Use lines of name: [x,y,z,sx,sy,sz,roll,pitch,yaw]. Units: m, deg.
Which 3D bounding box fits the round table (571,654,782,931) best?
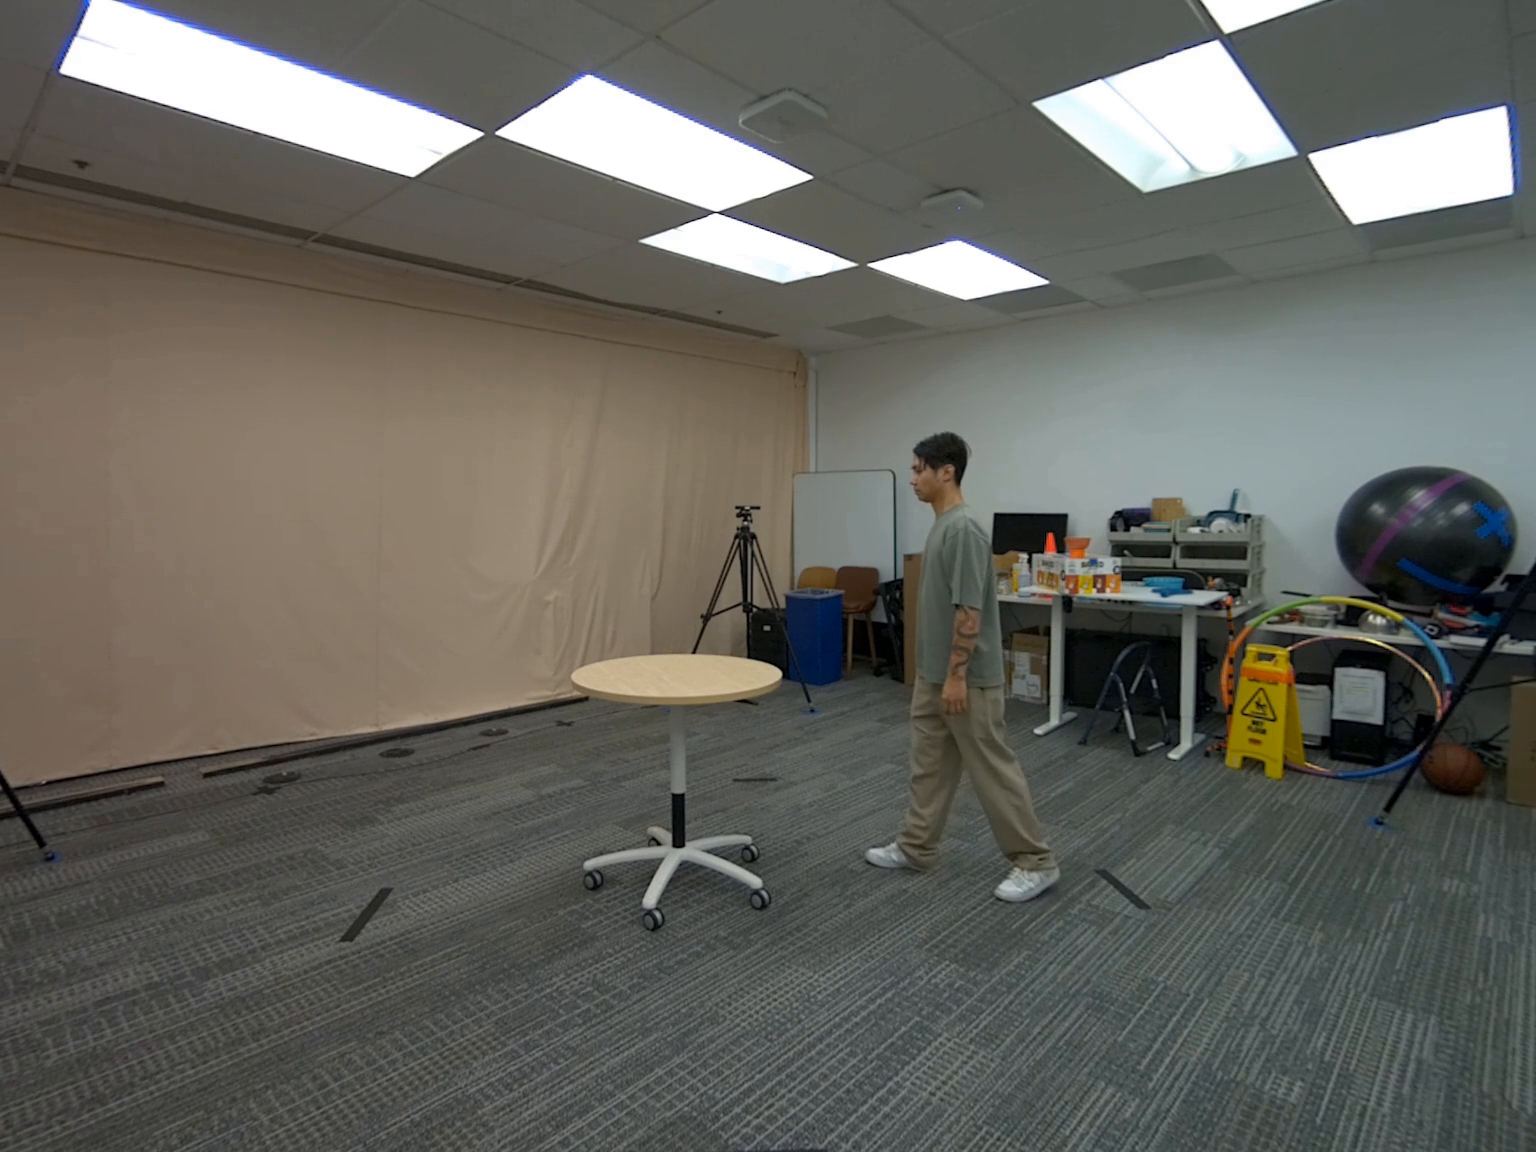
round table: [-0.333,0.747,3.076,0.784,0.785,0.788,0,4,-2]
